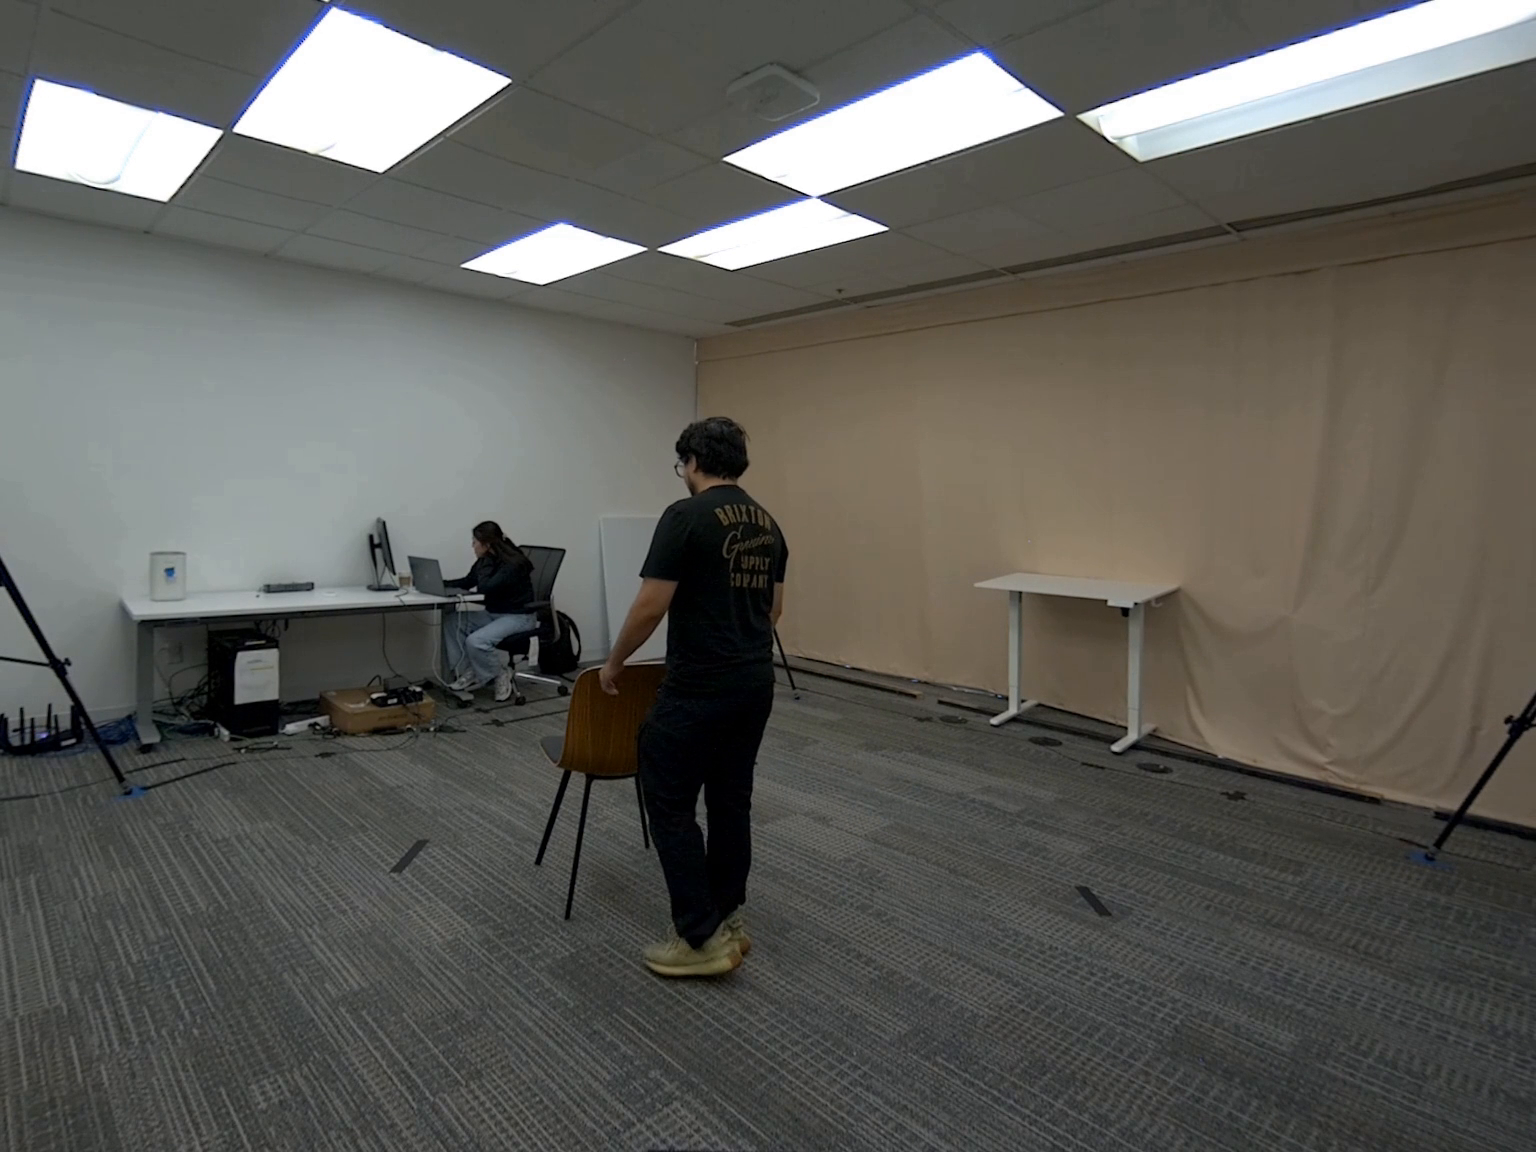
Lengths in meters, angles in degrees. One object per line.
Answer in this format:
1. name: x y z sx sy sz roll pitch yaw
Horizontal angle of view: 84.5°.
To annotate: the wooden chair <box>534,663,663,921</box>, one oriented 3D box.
1. wooden chair: -0.562 0.676 3.018 0.469 0.873 0.536 -1 9 -27
